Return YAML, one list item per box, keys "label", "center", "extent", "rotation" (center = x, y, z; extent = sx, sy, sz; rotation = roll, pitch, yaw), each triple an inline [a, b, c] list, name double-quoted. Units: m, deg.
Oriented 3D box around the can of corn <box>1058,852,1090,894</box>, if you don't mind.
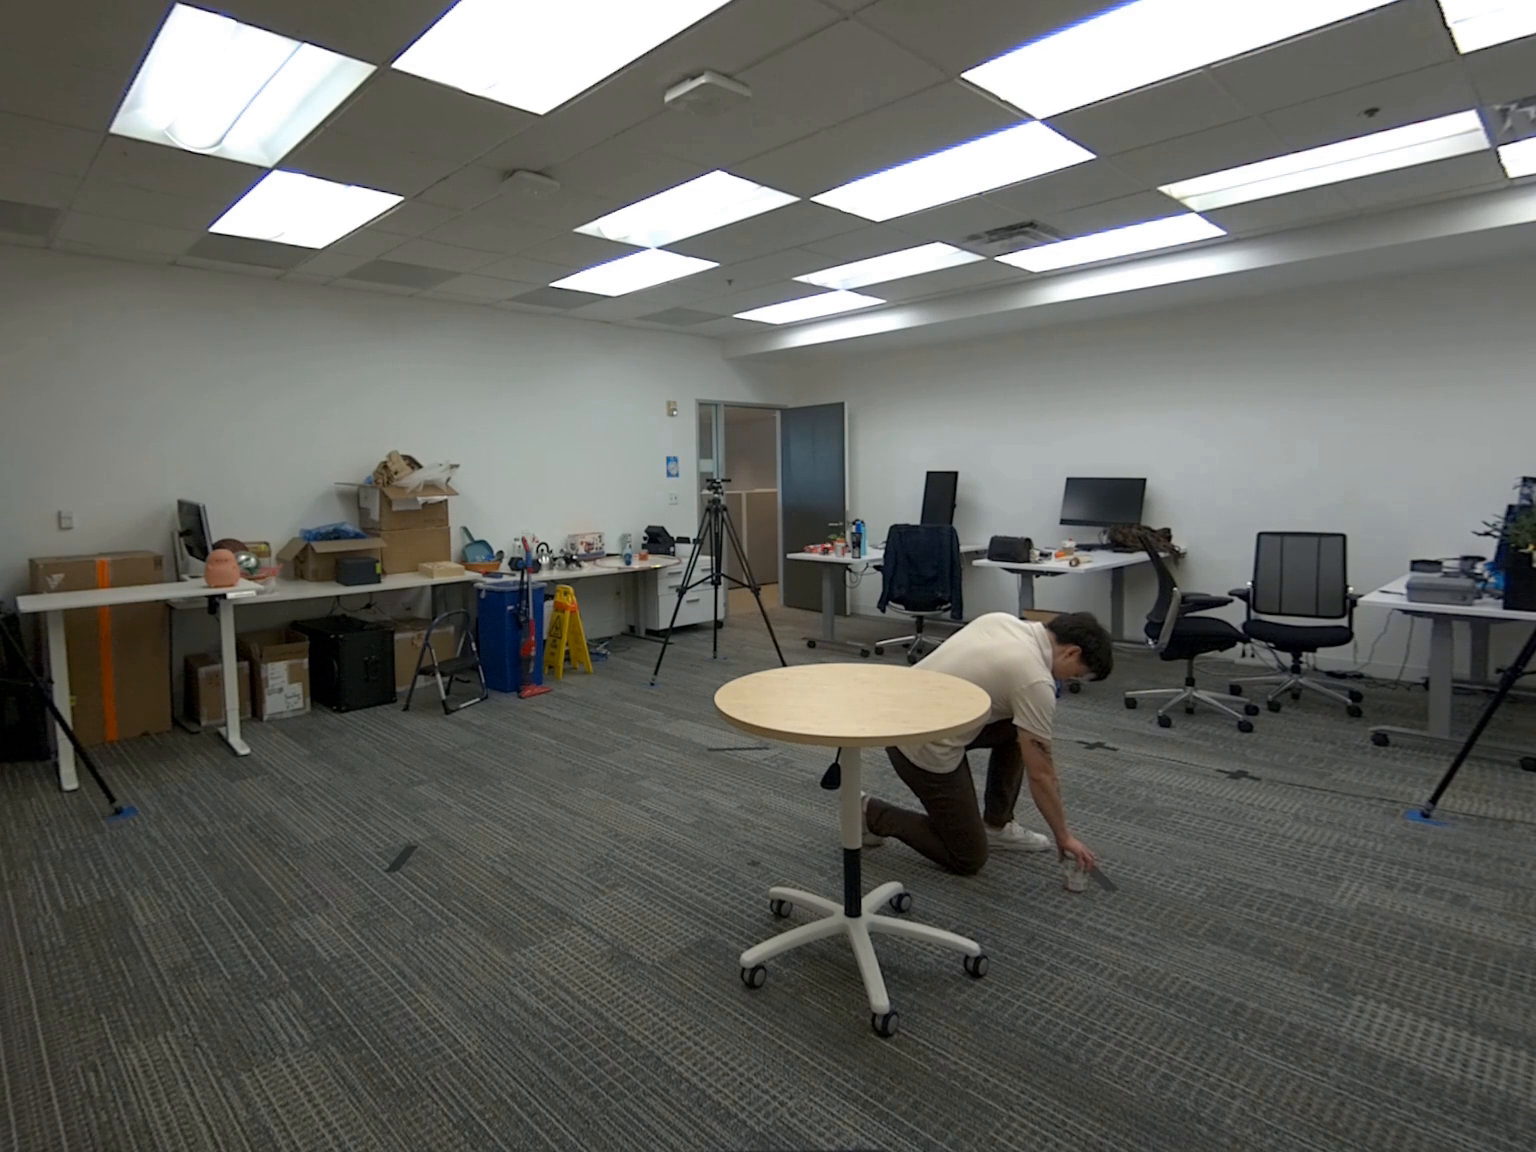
- label: "can of corn"
  center: [1.031, 0.999, 2.878]
  extent: [0.074, 0.111, 0.074]
  rotation: [2, 3, -2]
